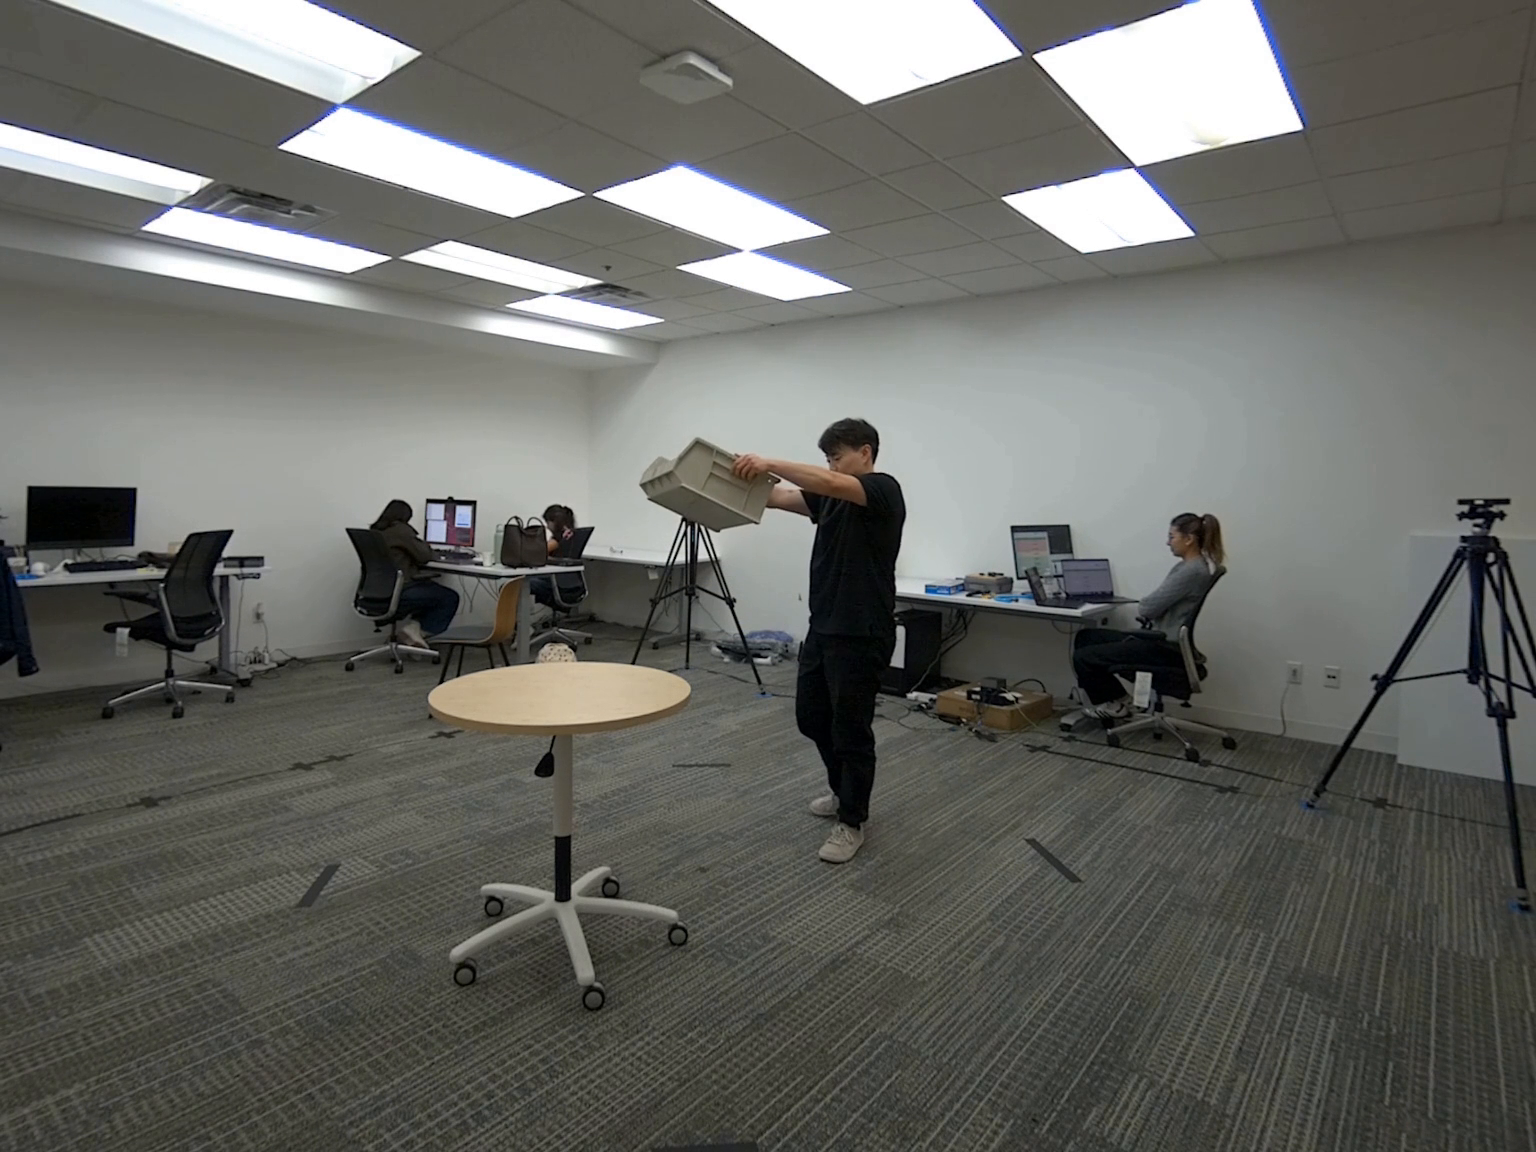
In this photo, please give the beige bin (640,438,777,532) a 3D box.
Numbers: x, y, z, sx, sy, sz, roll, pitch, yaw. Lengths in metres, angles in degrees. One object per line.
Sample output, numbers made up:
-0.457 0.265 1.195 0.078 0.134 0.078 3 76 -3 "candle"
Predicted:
-0.243 -0.324 3.110 0.368 0.190 0.431 26 -13 -21 "beige bin"
